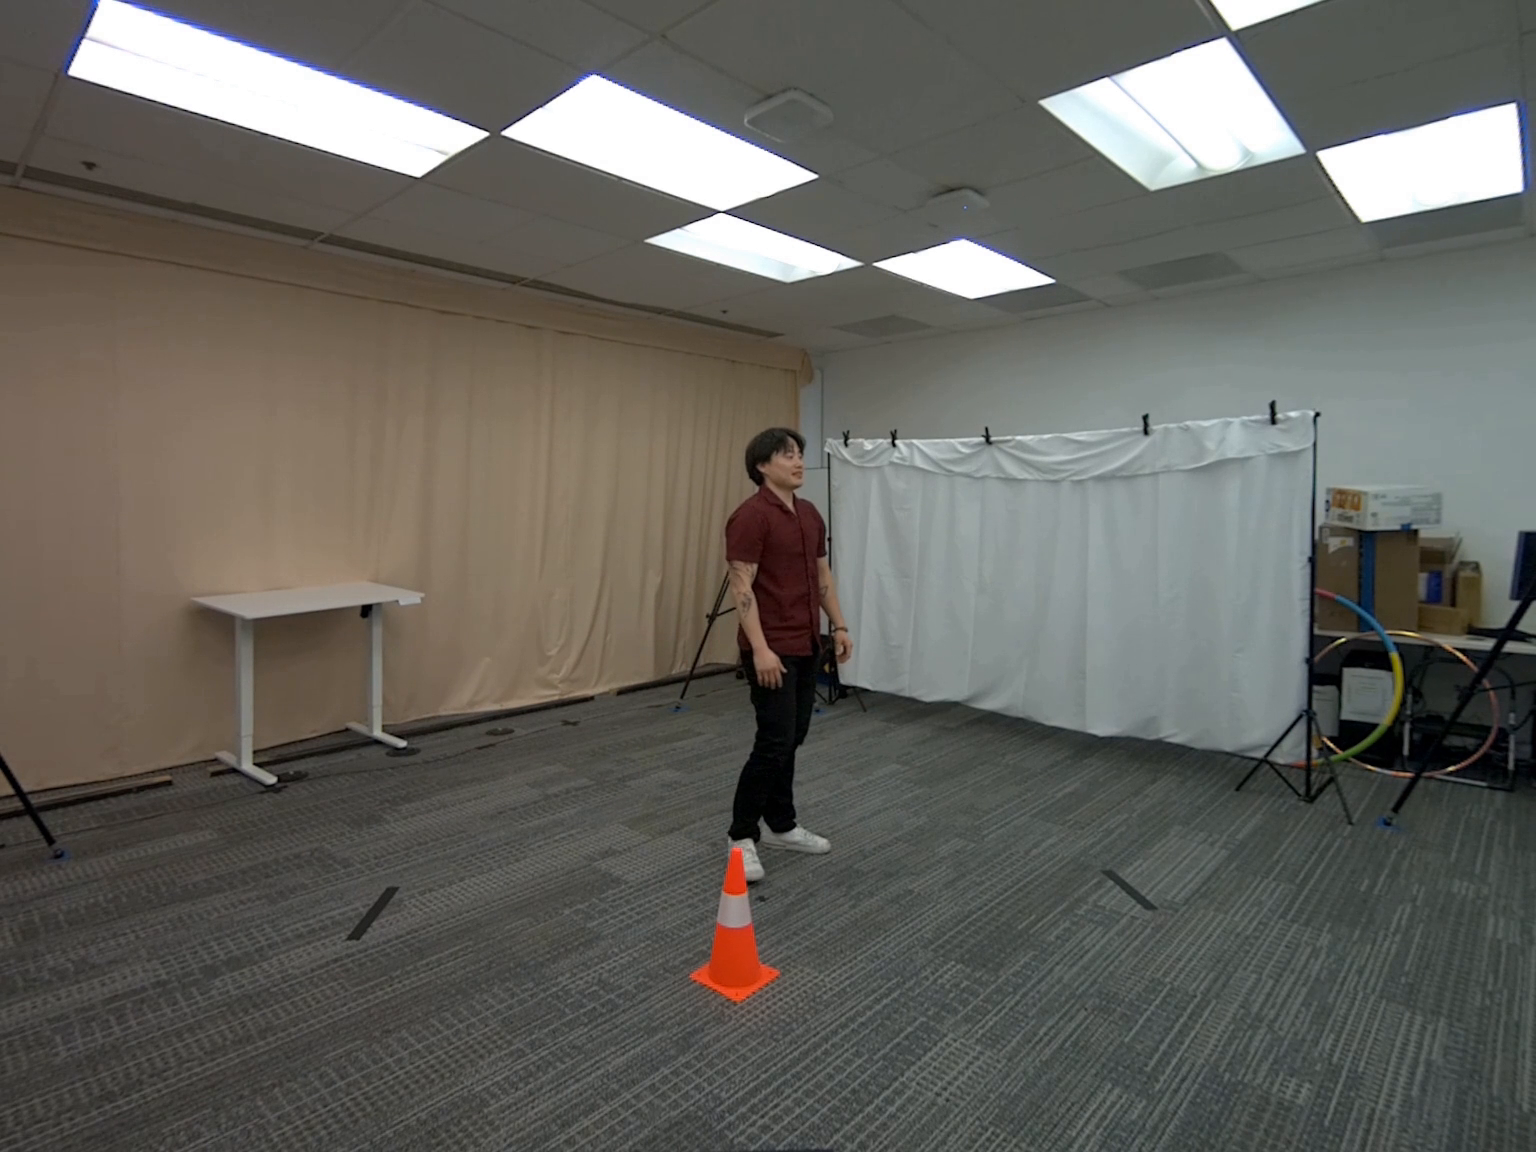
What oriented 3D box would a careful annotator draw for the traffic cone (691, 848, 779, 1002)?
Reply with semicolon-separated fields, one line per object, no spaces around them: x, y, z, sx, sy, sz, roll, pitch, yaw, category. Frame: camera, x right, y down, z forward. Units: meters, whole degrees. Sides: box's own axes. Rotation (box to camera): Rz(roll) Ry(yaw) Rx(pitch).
-0.098;1.003;2.484;0.197;0.383;0.211;-1;2;-35;traffic cone
